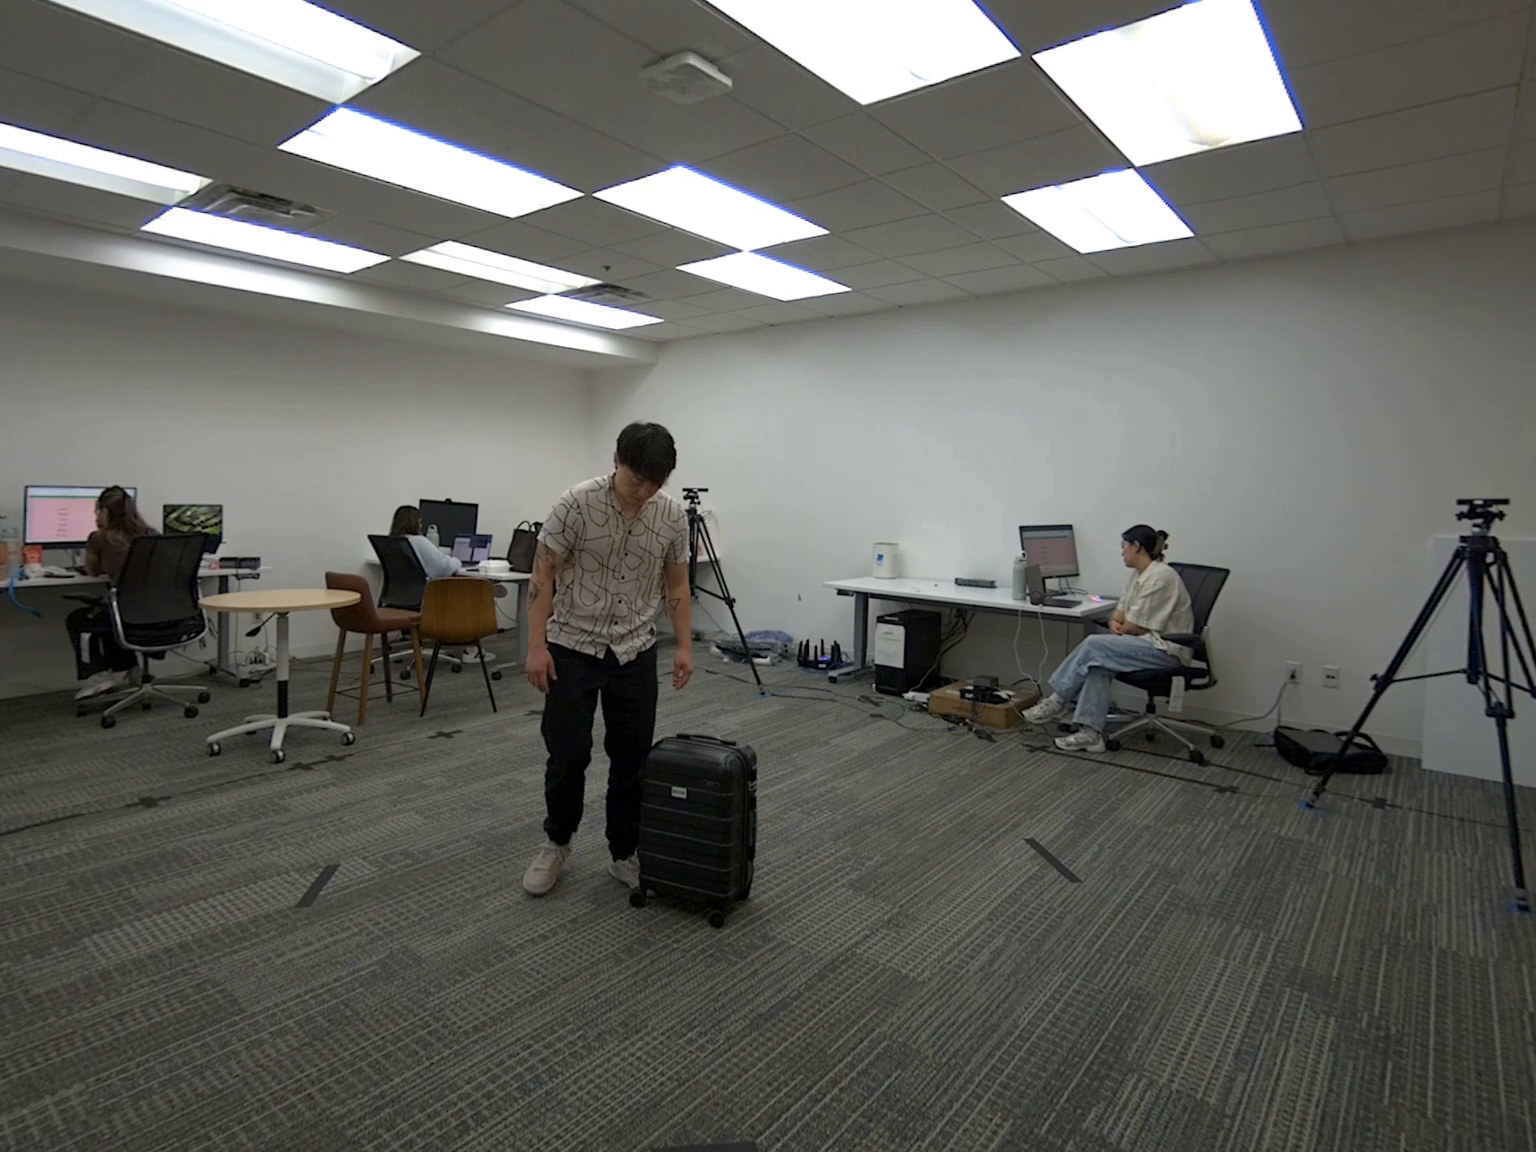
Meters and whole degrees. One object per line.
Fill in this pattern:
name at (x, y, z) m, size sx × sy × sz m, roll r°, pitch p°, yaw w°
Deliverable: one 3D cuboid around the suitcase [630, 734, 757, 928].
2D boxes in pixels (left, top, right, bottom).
suitcase at (-0.237, 0.821, 2.845) m, size 0.385 × 0.548 × 0.243 m, roll 4°, pitch 3°, yaw 23°
